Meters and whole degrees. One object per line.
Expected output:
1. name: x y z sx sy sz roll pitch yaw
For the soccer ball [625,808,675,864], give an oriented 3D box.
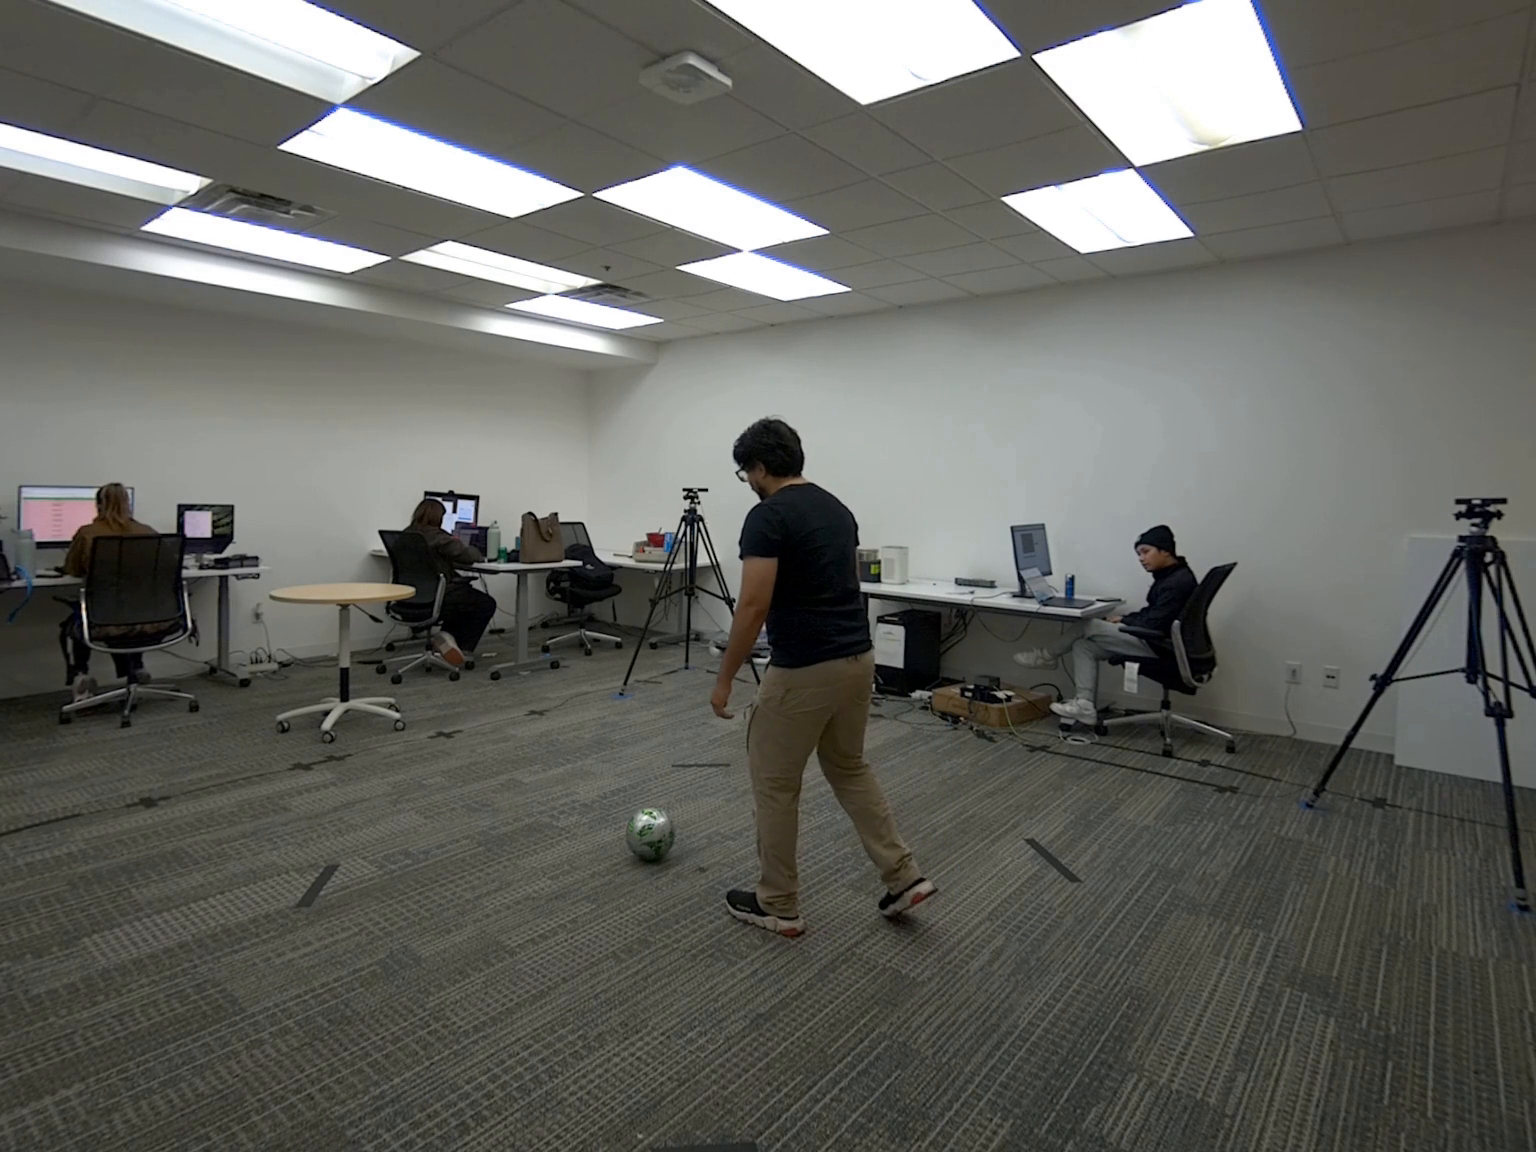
1. soccer ball: -0.453 0.966 3.196 0.187 0.187 0.188 1 4 -2
